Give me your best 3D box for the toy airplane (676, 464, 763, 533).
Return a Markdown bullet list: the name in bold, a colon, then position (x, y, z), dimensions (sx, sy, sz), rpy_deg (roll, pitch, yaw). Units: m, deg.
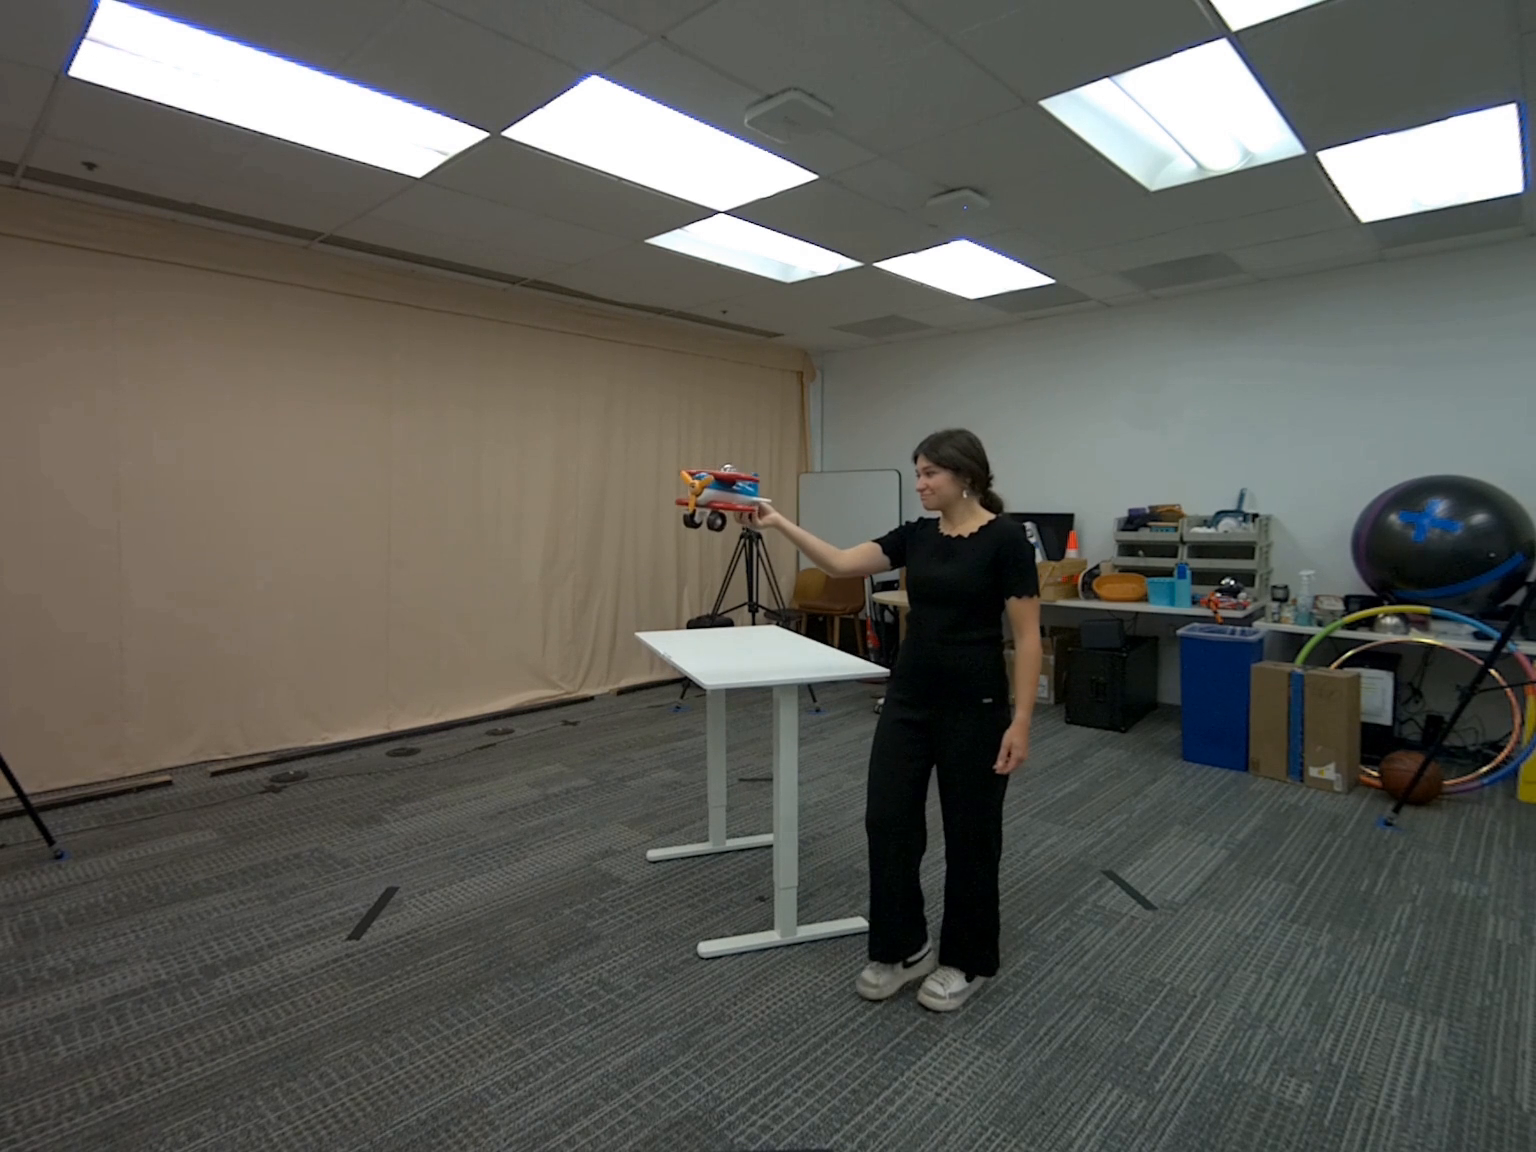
- **toy airplane**: position (-0.131, -0.221, 2.267), dimensions (0.255, 0.155, 0.257), rpy_deg (3, 15, 14)
